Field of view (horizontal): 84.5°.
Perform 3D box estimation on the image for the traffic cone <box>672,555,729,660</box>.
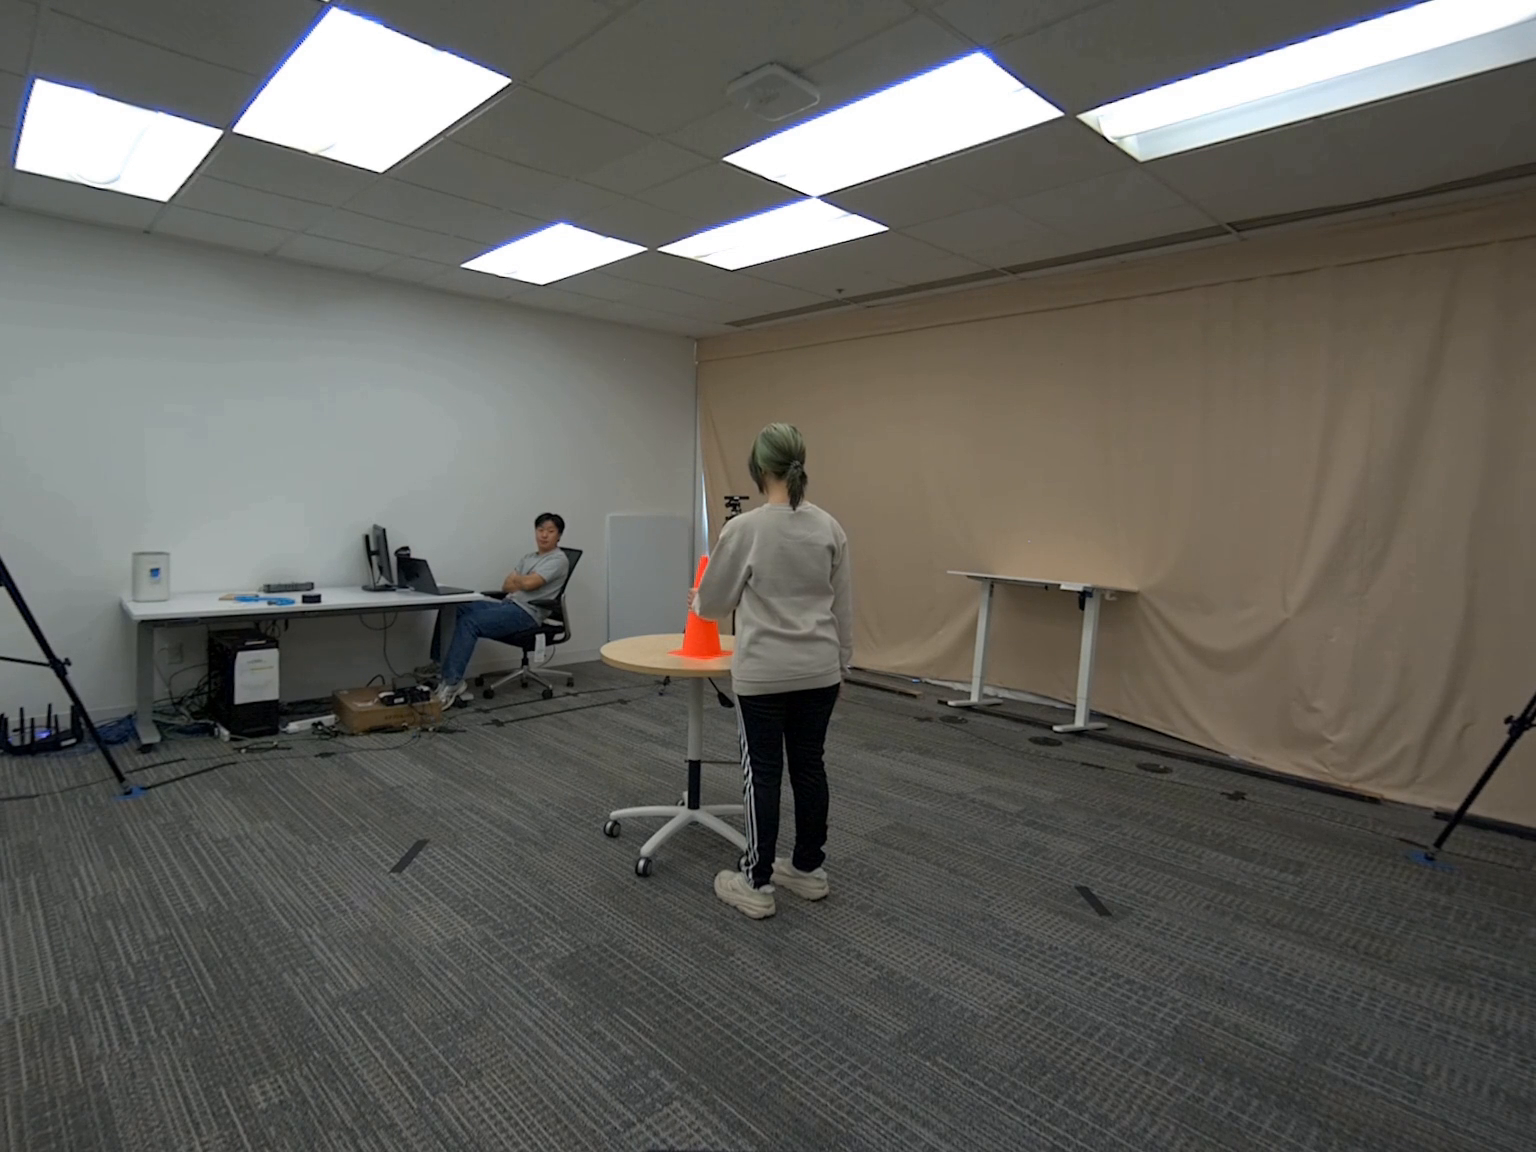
[{"bbox_3d":[-0.259,0.115,3.274,0.208,0.383,0.200,5,3,33],"label":"traffic cone"}]
